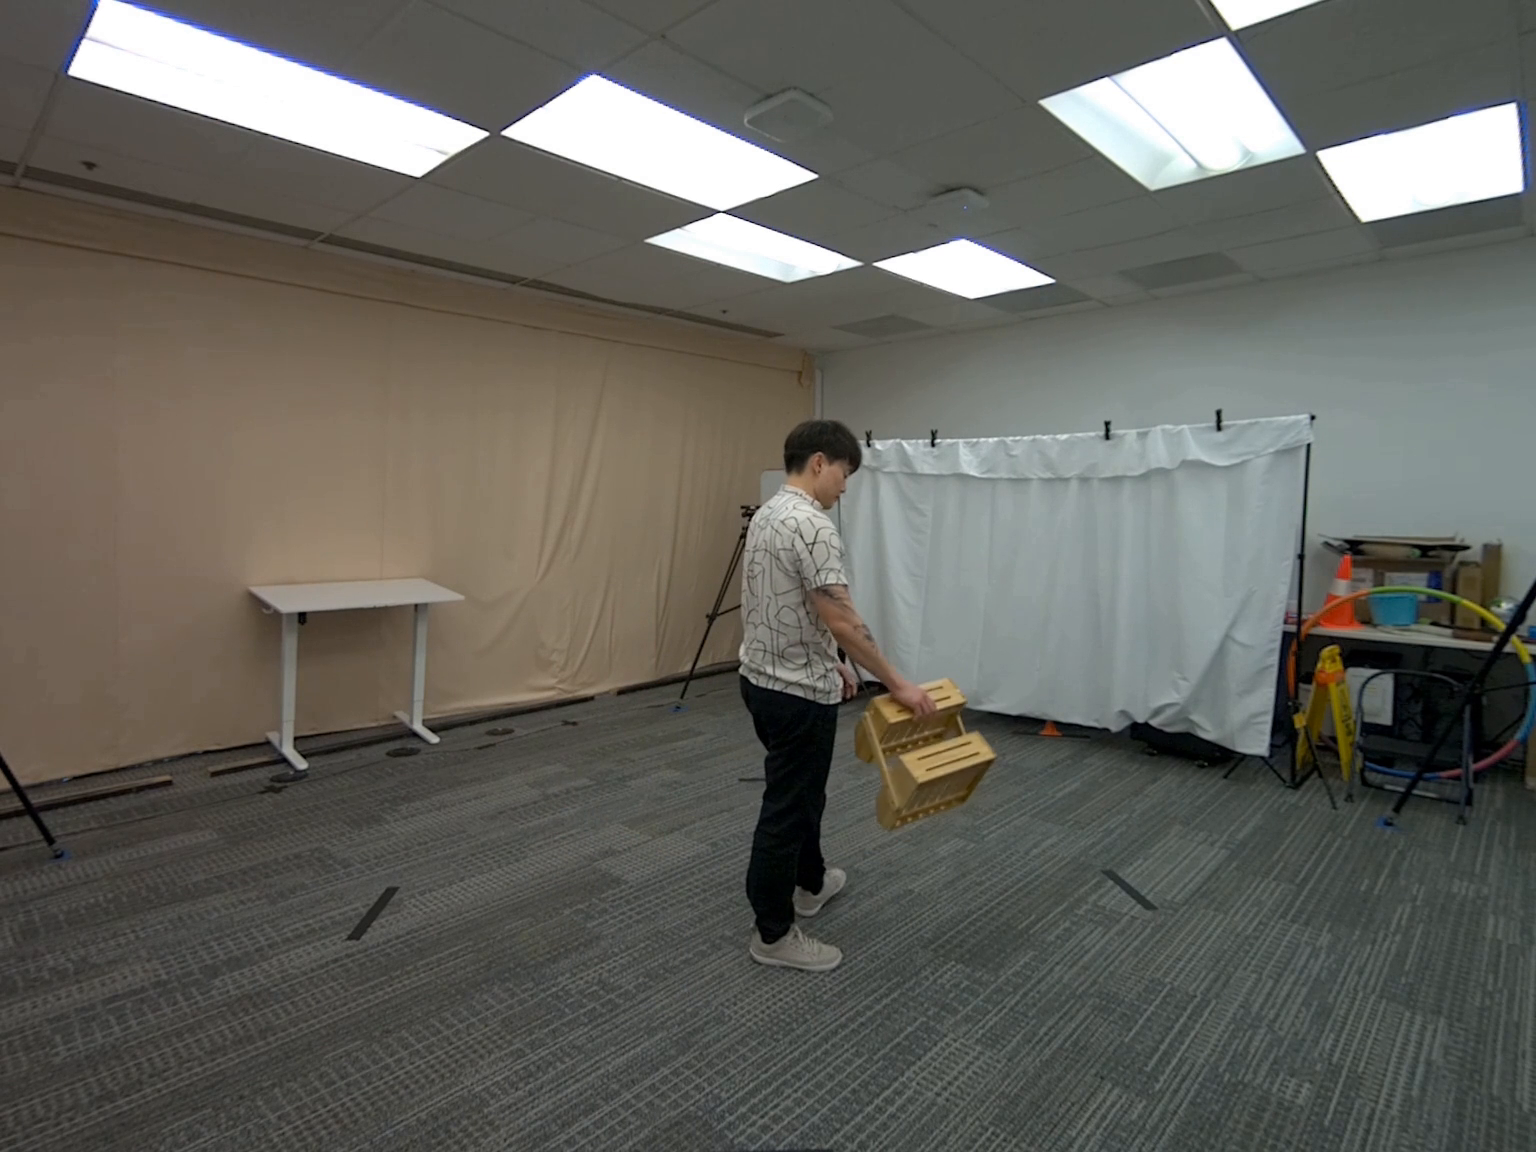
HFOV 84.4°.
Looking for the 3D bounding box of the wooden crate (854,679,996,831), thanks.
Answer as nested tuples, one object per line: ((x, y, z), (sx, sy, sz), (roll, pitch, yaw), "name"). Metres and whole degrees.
((0.437, 0.518, 2.466), (0.316, 0.299, 0.282), (-8, 45, -29), "wooden crate")
